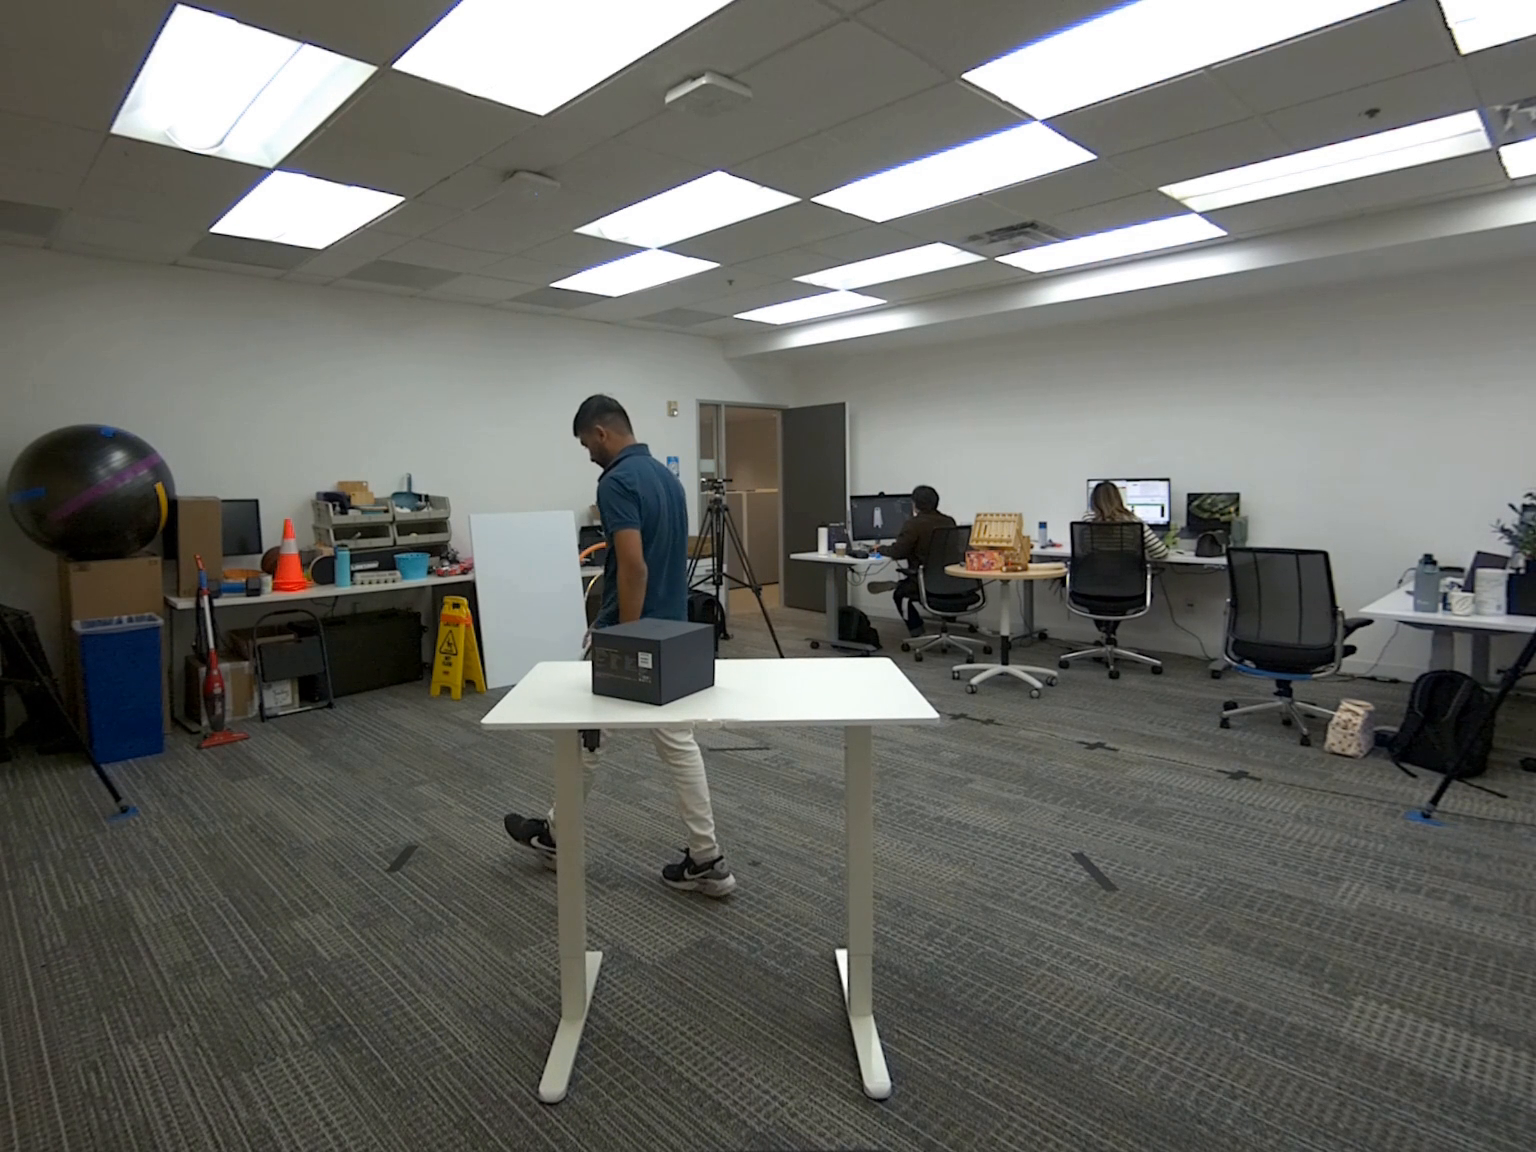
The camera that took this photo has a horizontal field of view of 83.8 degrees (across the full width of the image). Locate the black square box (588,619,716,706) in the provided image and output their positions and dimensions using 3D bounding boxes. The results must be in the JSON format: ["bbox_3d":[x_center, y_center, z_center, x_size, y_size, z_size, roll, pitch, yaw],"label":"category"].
[{"bbox_3d":[-0.286,0.203,2.110,0.223,0.155,0.223,3,8,32],"label":"black square box"}]
